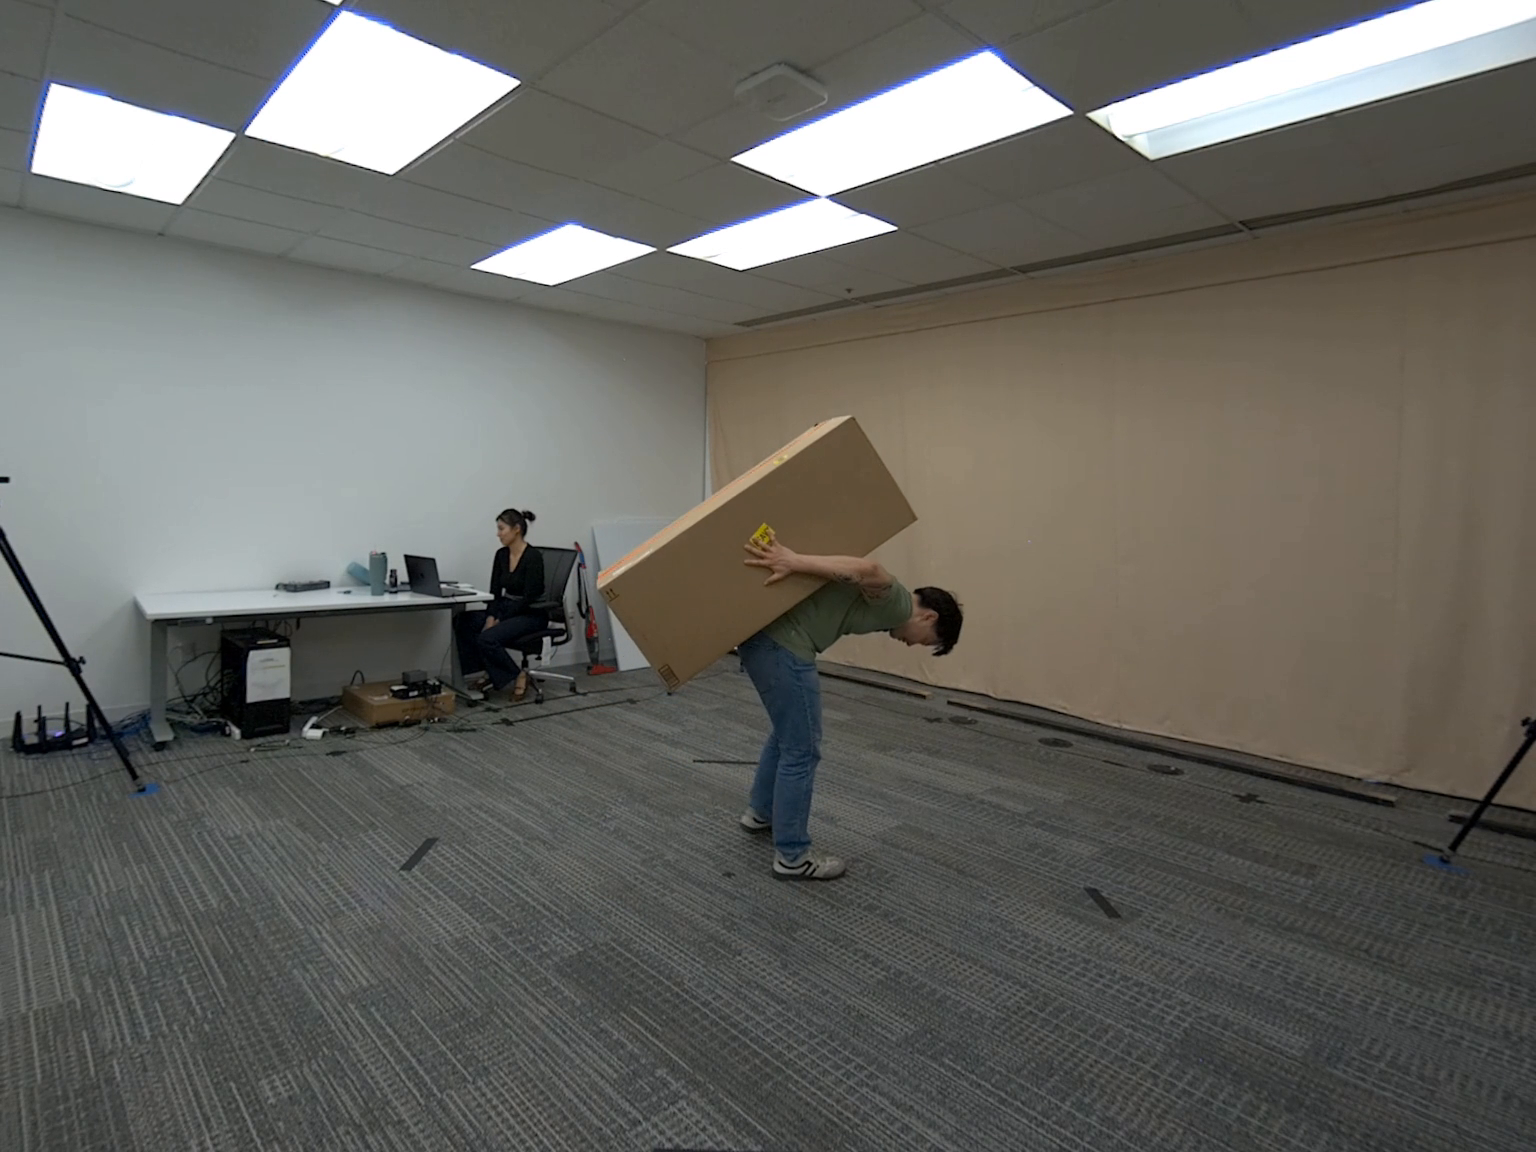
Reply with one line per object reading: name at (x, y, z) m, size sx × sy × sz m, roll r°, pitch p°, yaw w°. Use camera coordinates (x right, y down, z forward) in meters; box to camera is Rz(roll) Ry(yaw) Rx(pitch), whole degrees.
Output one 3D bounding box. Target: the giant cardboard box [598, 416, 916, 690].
giant cardboard box at (-0.076, -0.104, 3.064) m, size 1.024 × 0.422 × 0.583 m, roll -35°, pitch 9°, yaw -5°
